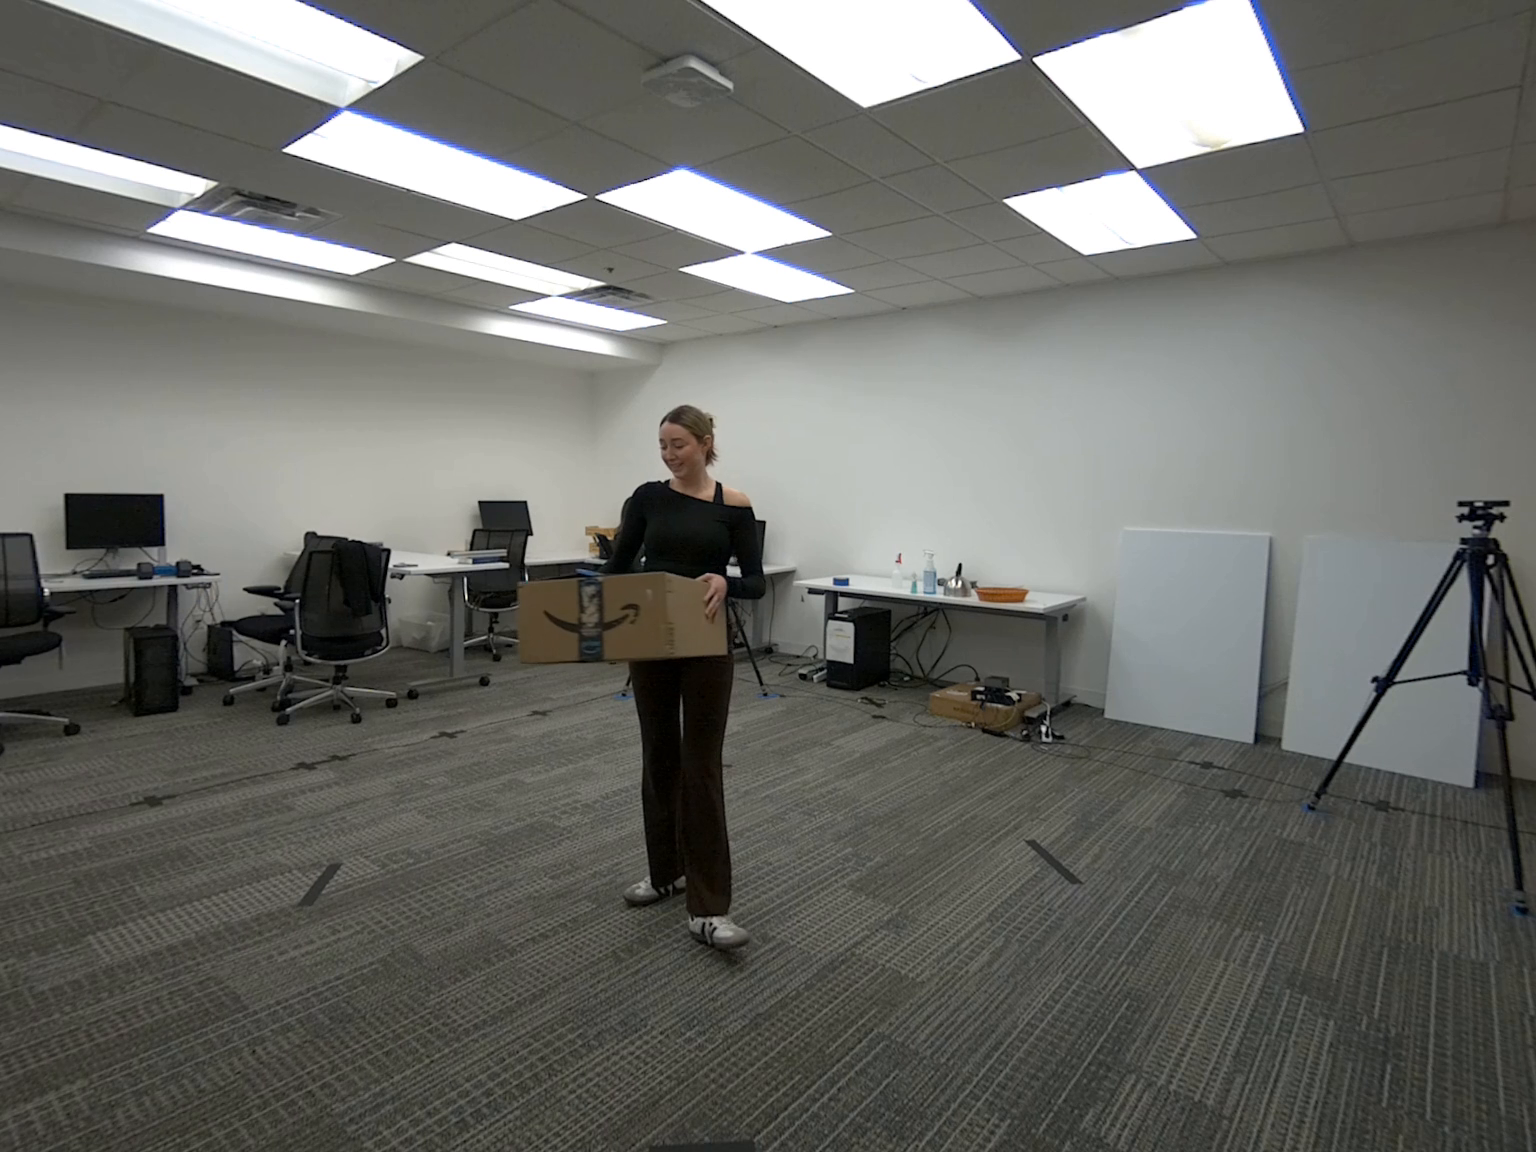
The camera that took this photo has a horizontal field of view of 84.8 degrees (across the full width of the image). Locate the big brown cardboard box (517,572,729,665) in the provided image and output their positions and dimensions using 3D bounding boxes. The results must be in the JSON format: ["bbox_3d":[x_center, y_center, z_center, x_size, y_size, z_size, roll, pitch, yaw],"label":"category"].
[{"bbox_3d":[-0.404,0.122,2.430,0.424,0.235,0.576,-3,-6,14],"label":"big brown cardboard box"}]
